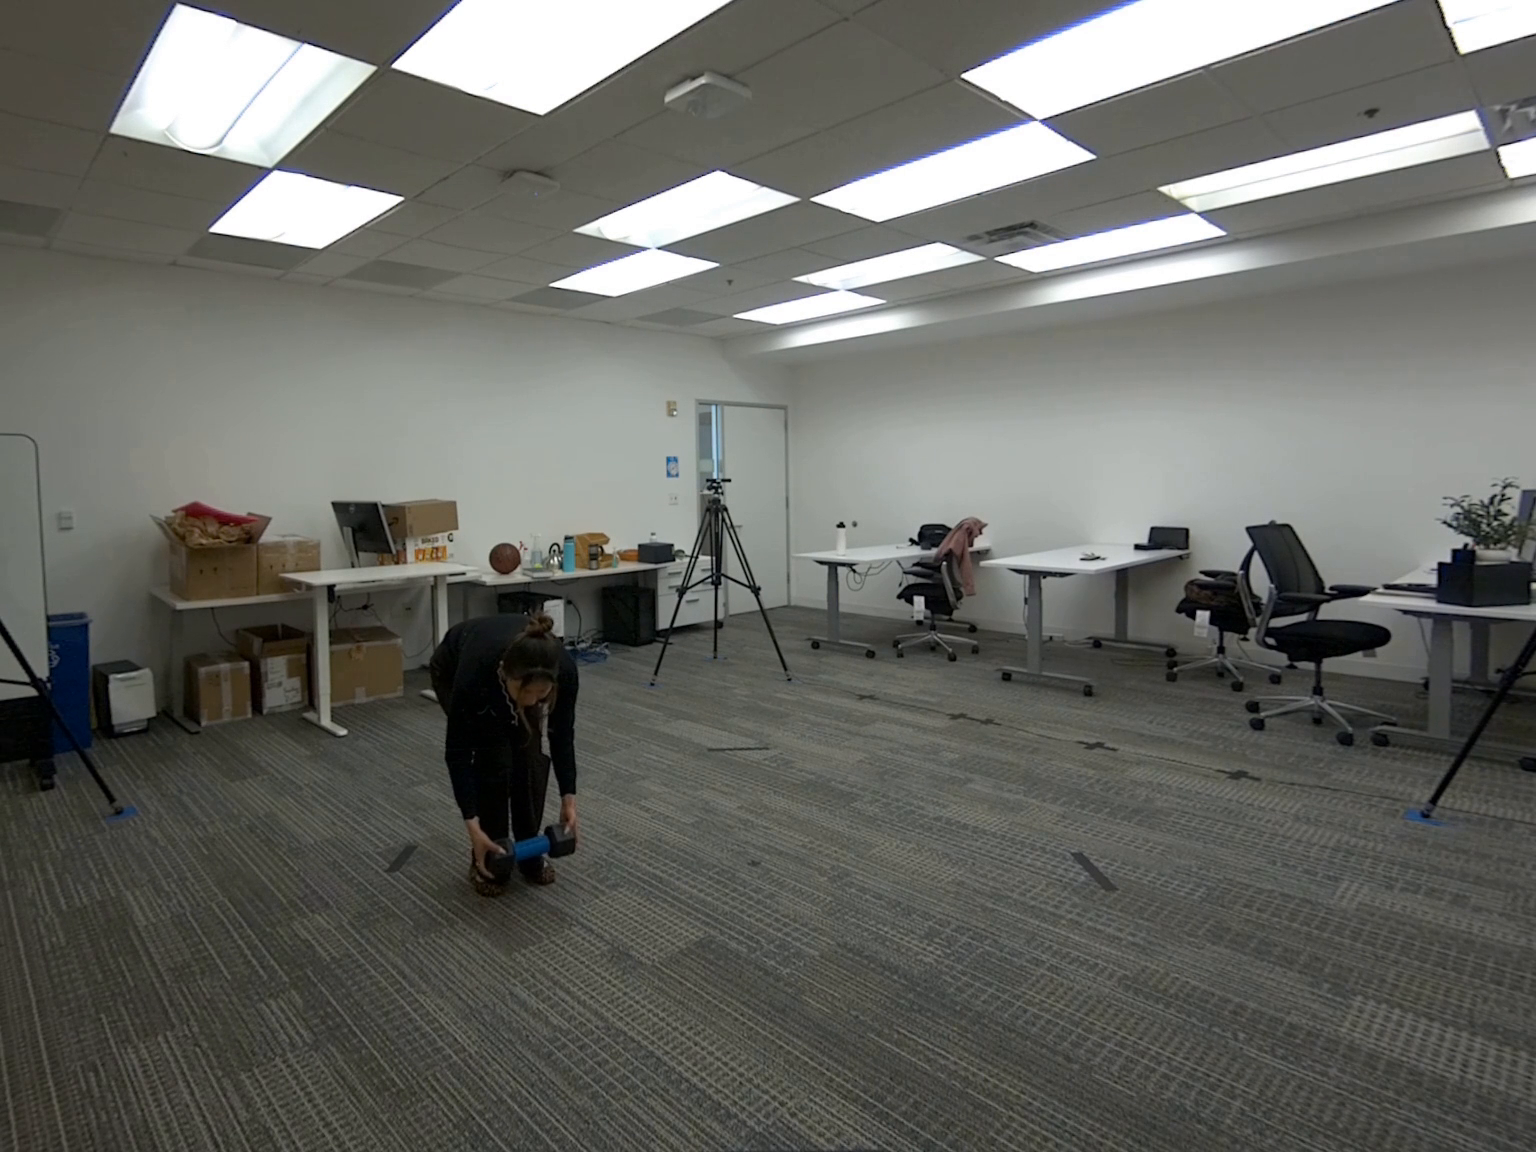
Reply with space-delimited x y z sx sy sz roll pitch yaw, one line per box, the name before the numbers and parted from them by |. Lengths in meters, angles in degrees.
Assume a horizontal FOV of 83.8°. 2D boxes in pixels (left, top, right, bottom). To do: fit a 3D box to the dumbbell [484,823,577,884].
dumbbell | -0.799 0.893 2.840 0.287 0.107 0.127 -9 47 -29
